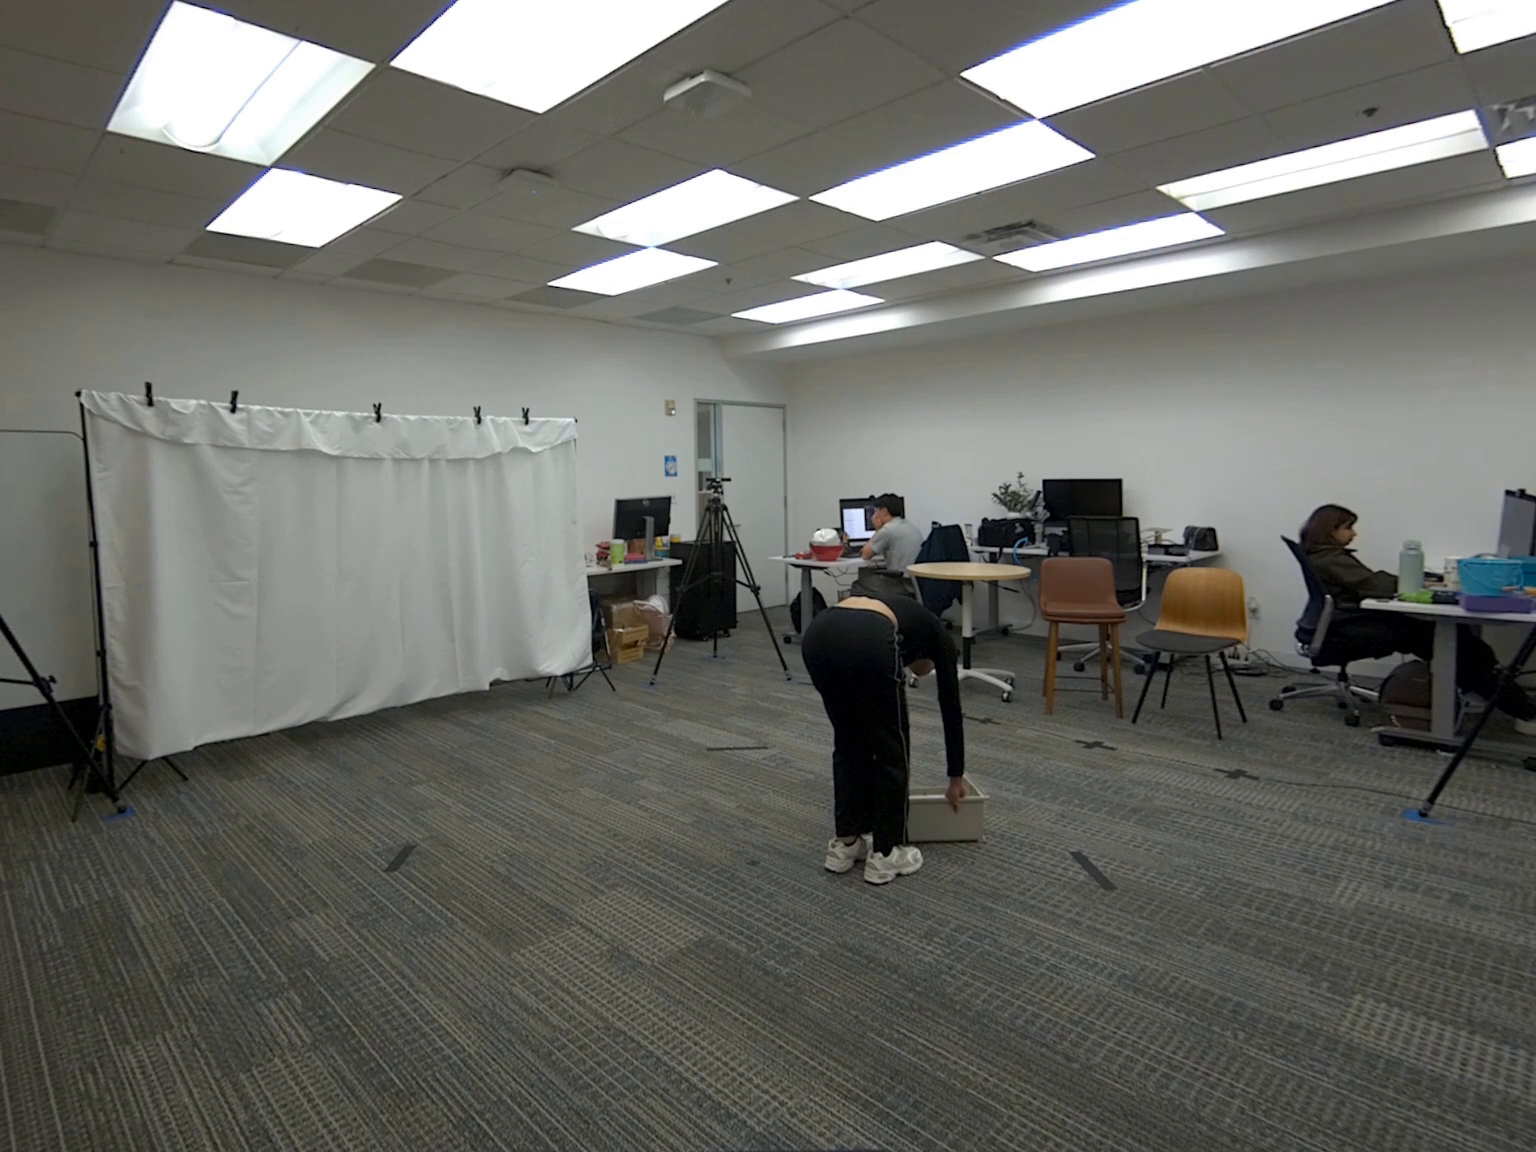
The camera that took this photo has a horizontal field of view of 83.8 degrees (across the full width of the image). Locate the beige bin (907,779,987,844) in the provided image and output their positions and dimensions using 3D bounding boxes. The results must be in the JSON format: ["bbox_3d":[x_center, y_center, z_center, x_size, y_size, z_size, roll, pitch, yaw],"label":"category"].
[{"bbox_3d":[0.613,0.915,3.405,0.421,0.188,0.380,1,5,-4],"label":"beige bin"}]
